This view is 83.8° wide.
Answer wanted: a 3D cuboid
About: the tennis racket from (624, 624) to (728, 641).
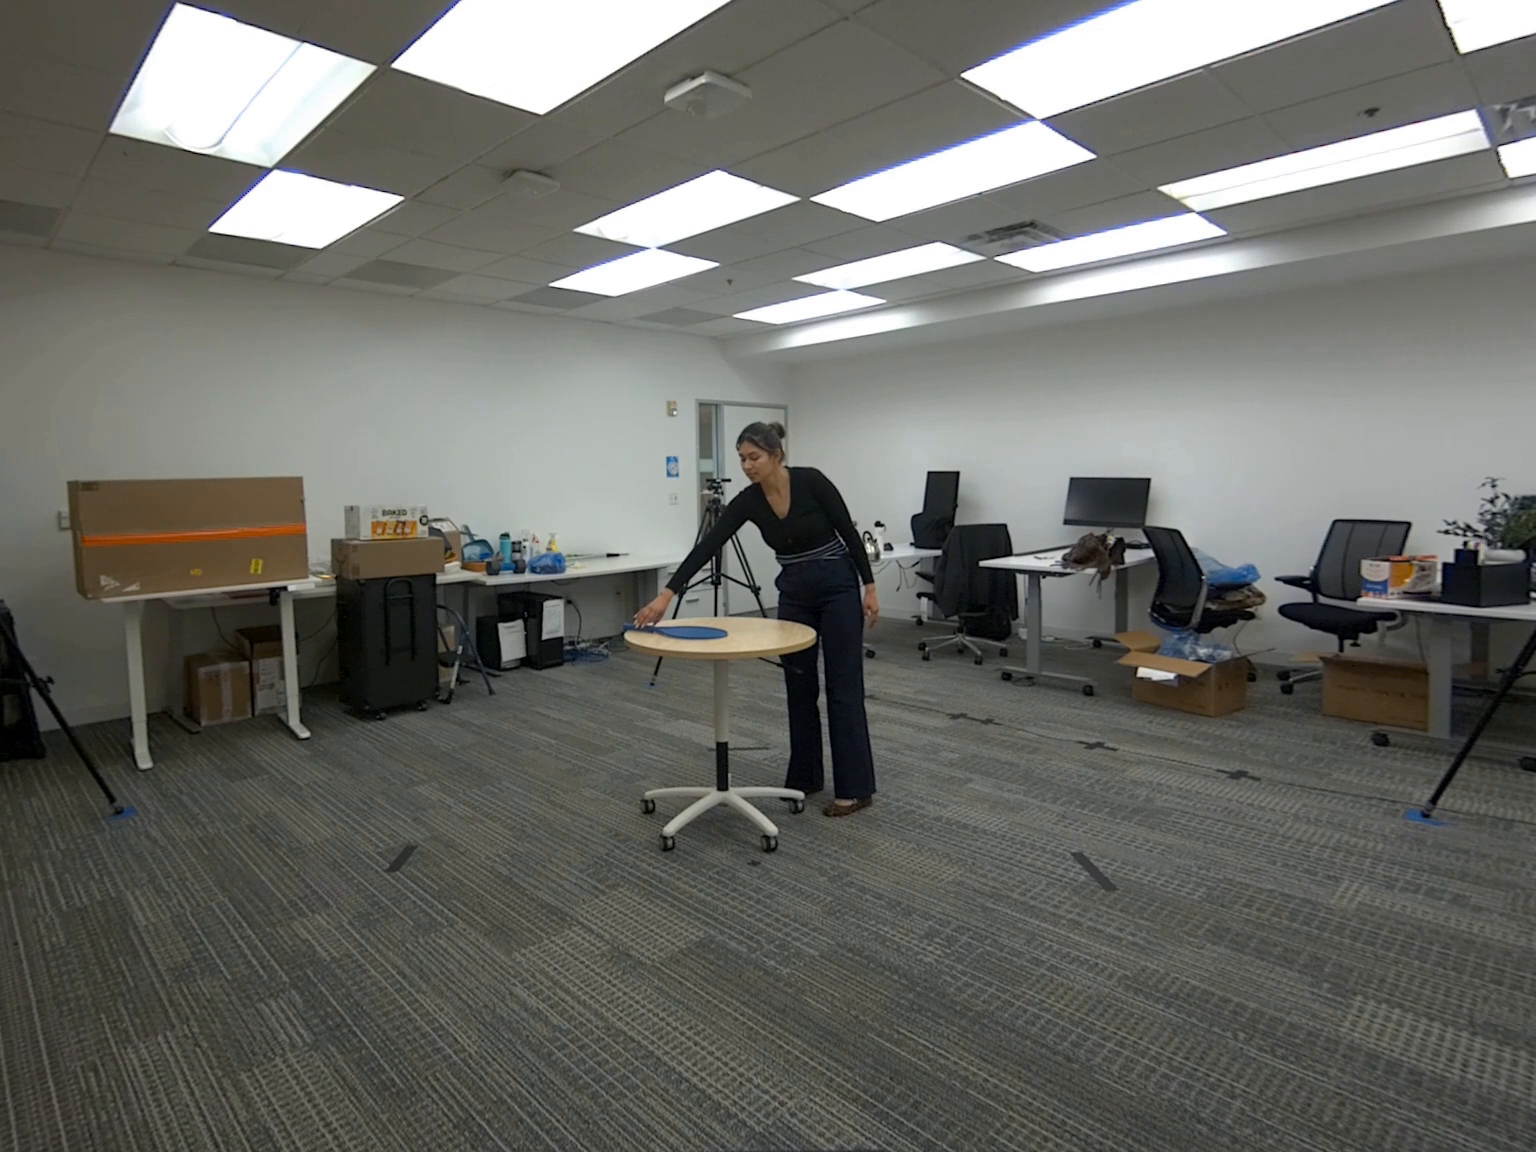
[{"bbox_3d":[-0.378,0.218,3.407,0.440,0.031,0.211,3,7,17],"label":"tennis racket"}]
